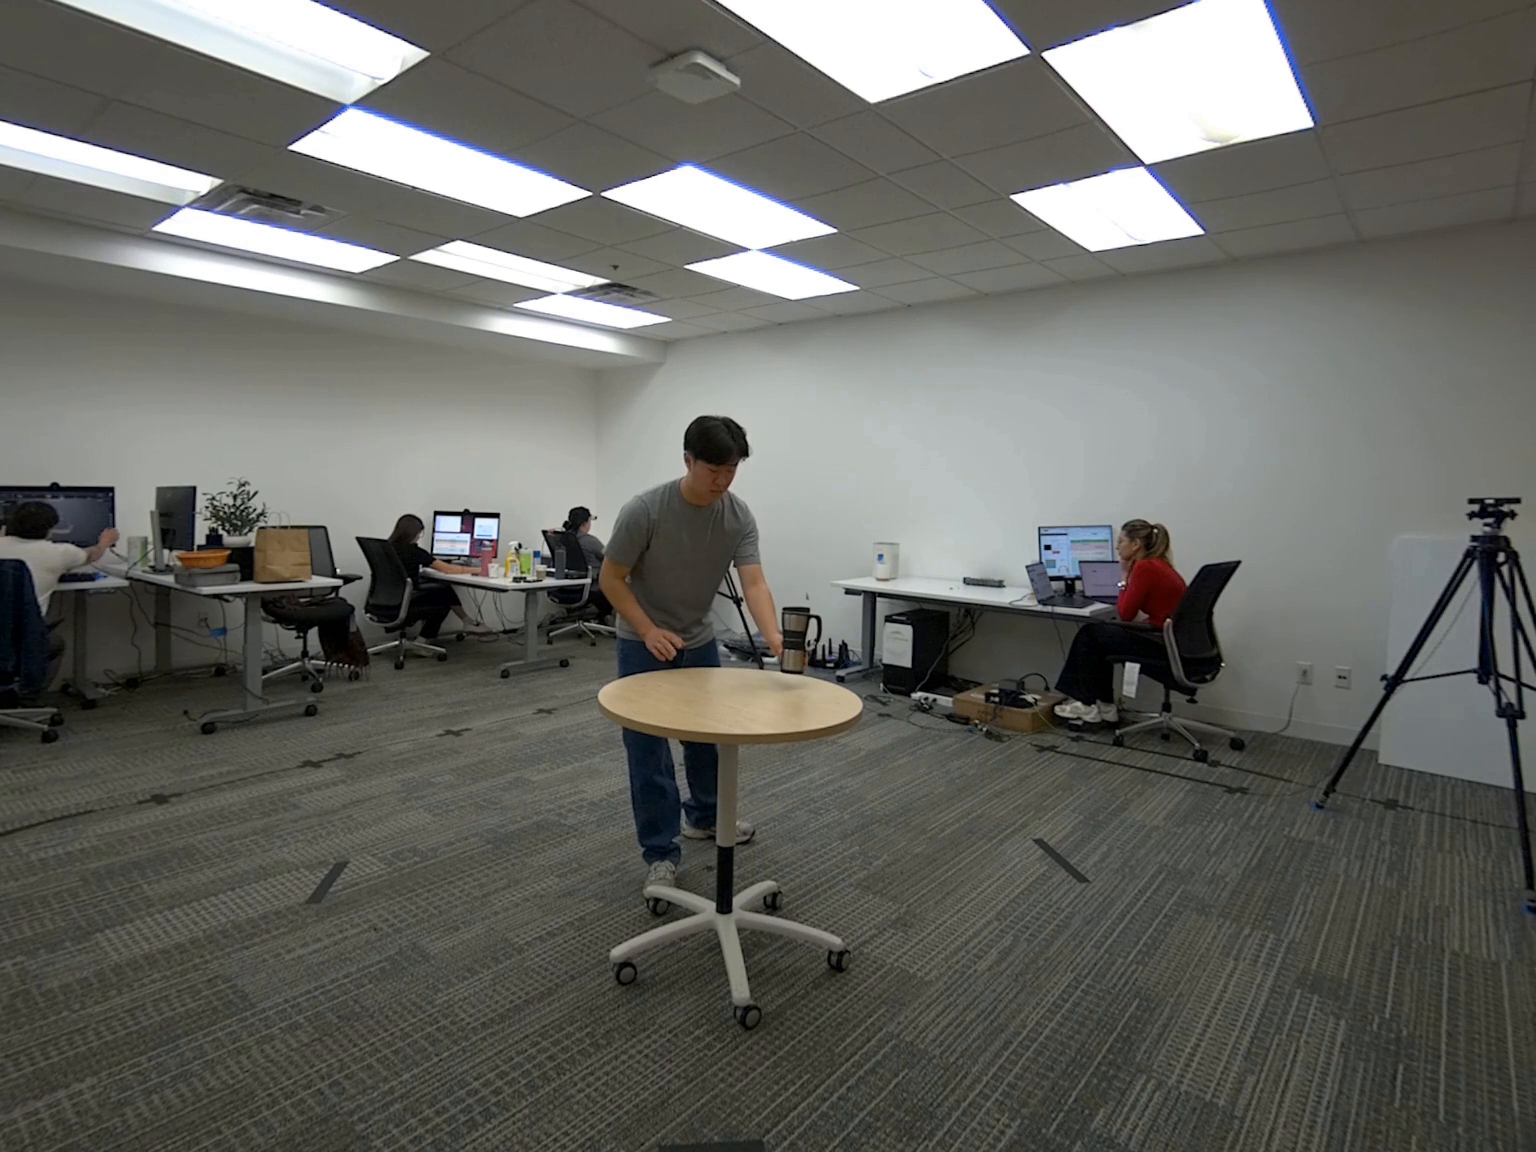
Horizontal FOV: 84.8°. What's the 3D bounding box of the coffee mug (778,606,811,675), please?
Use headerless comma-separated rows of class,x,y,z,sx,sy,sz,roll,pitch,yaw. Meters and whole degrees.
coffee mug,0.093,0.205,2.598,0.125,0.204,0.085,0,-7,32
